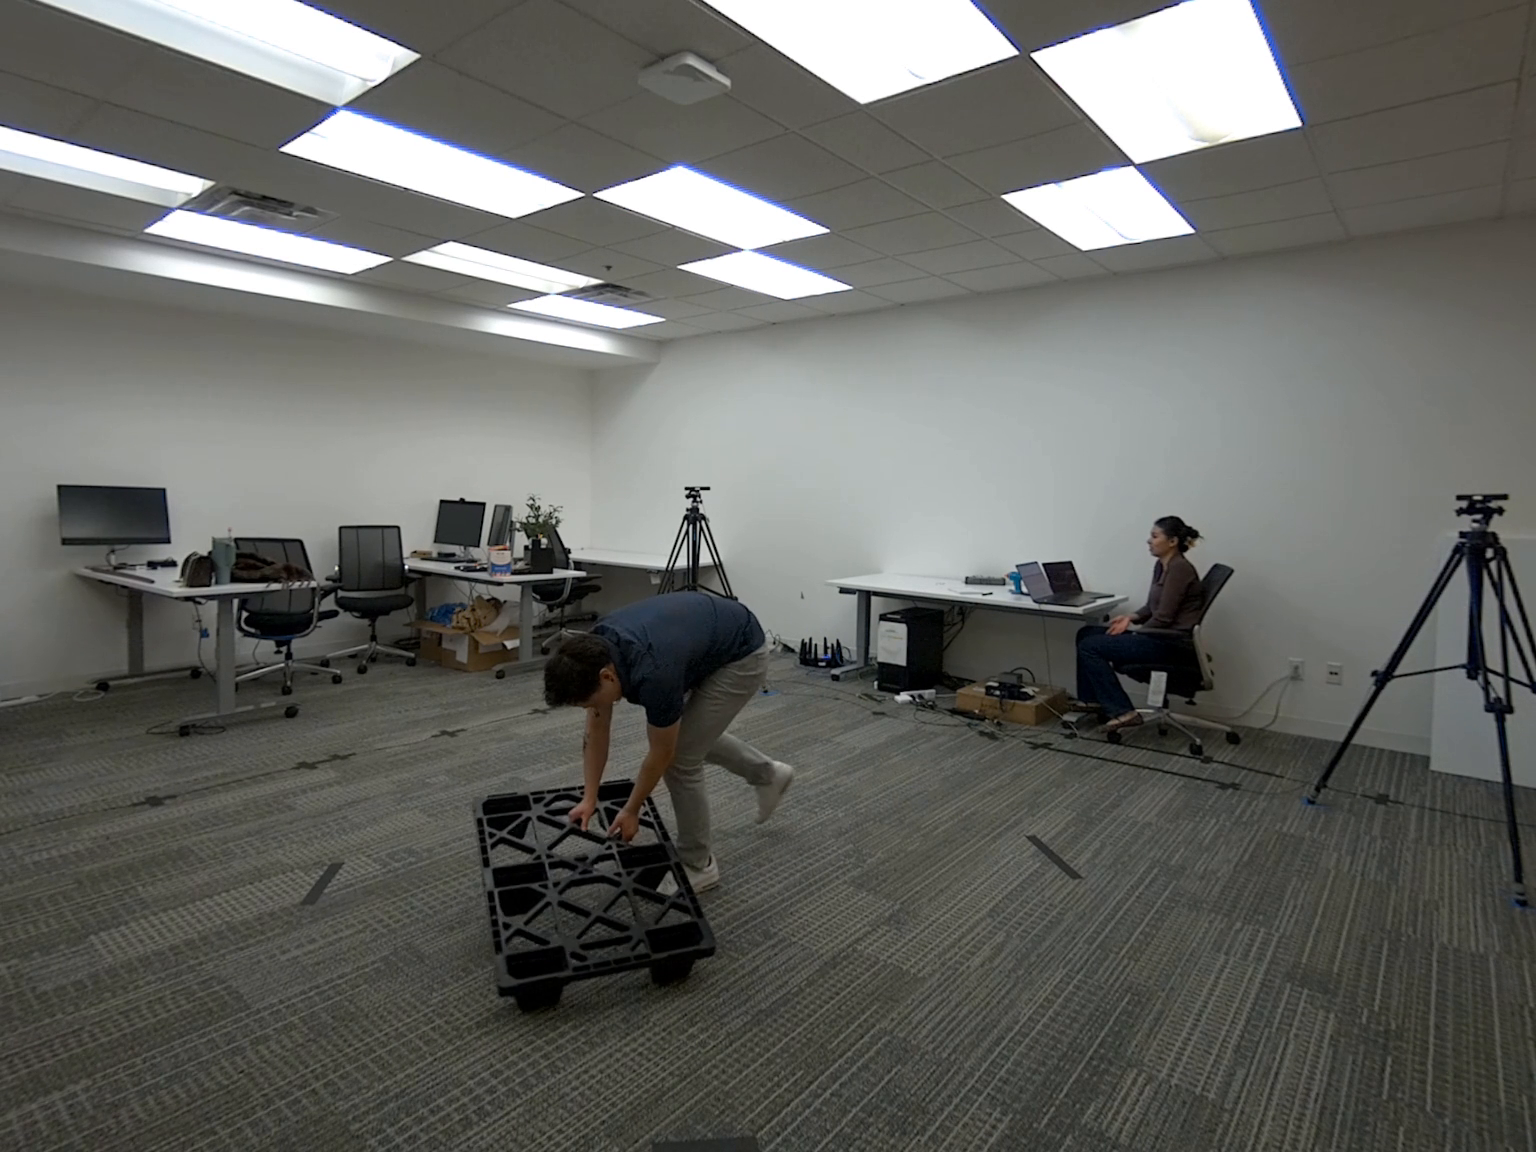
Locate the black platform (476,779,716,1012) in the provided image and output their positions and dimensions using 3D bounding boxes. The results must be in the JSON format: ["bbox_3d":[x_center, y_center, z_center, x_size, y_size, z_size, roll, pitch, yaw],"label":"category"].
[{"bbox_3d":[-0.581,0.941,2.642,0.592,0.141,0.836,-2,22,-22],"label":"black platform"}]
